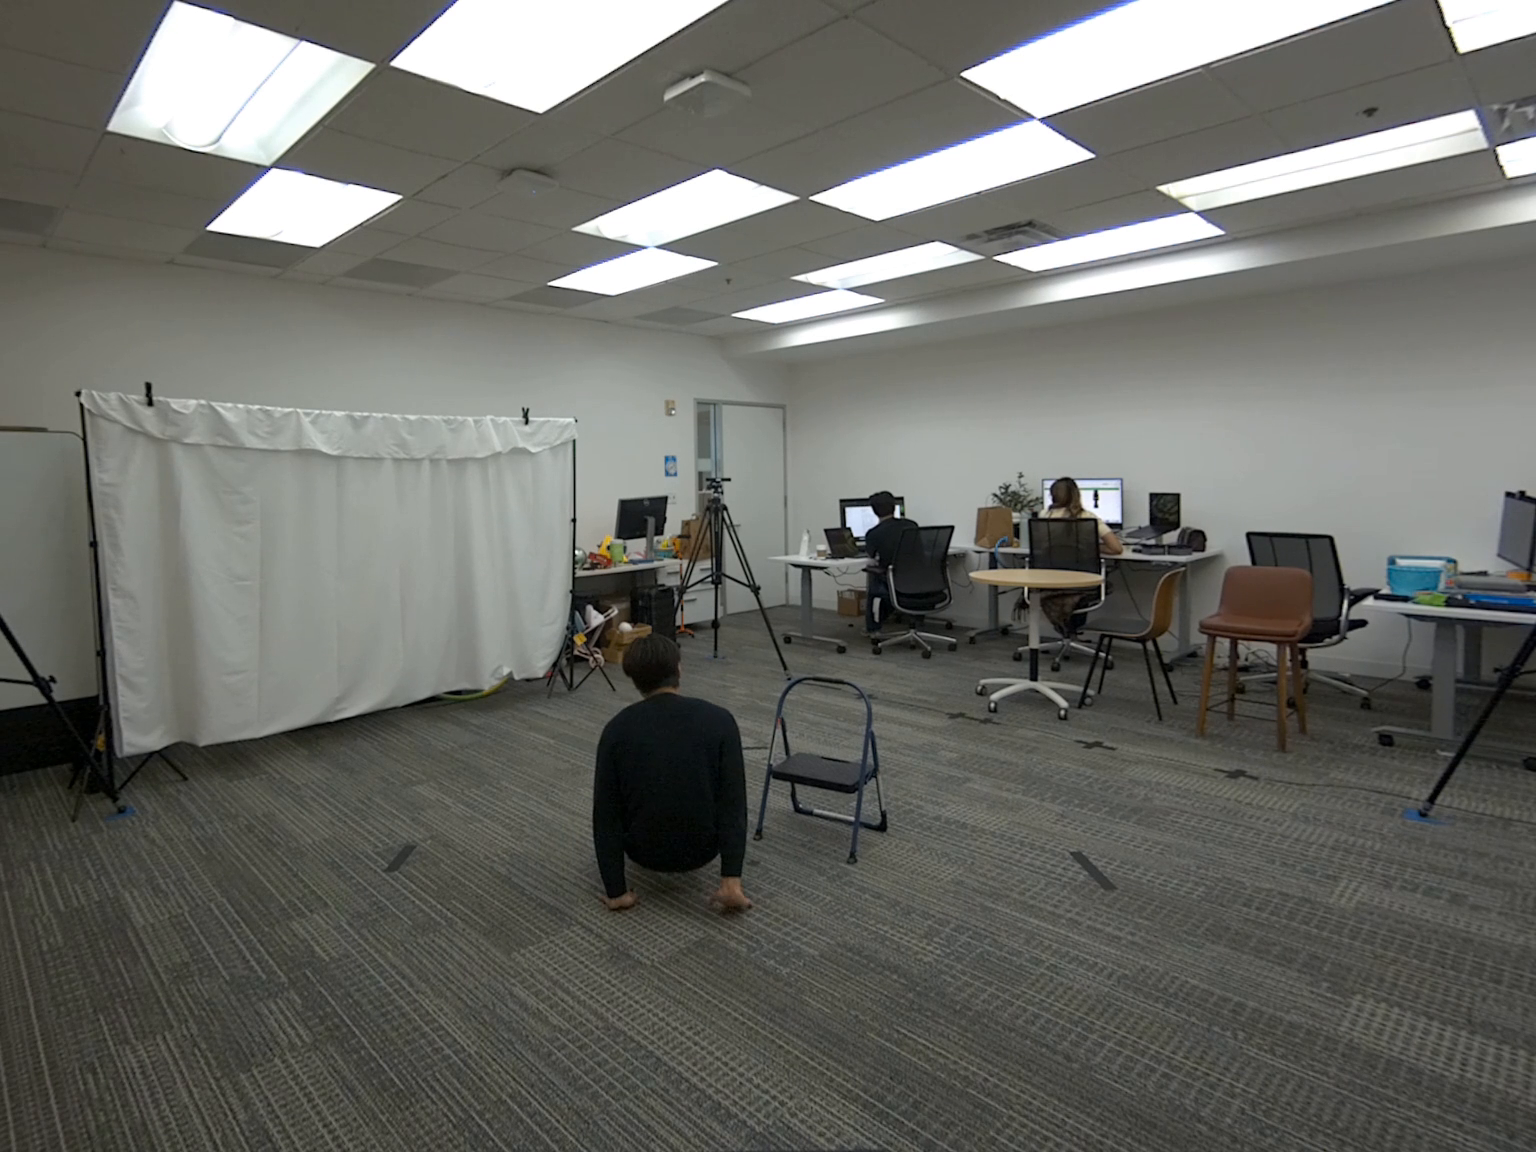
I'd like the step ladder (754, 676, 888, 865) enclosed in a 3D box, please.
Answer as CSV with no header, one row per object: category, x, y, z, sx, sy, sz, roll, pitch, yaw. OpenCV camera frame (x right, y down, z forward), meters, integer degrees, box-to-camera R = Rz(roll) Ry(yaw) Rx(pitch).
step ladder,0.209,0.710,3.321,0.442,0.604,0.341,2,5,31
